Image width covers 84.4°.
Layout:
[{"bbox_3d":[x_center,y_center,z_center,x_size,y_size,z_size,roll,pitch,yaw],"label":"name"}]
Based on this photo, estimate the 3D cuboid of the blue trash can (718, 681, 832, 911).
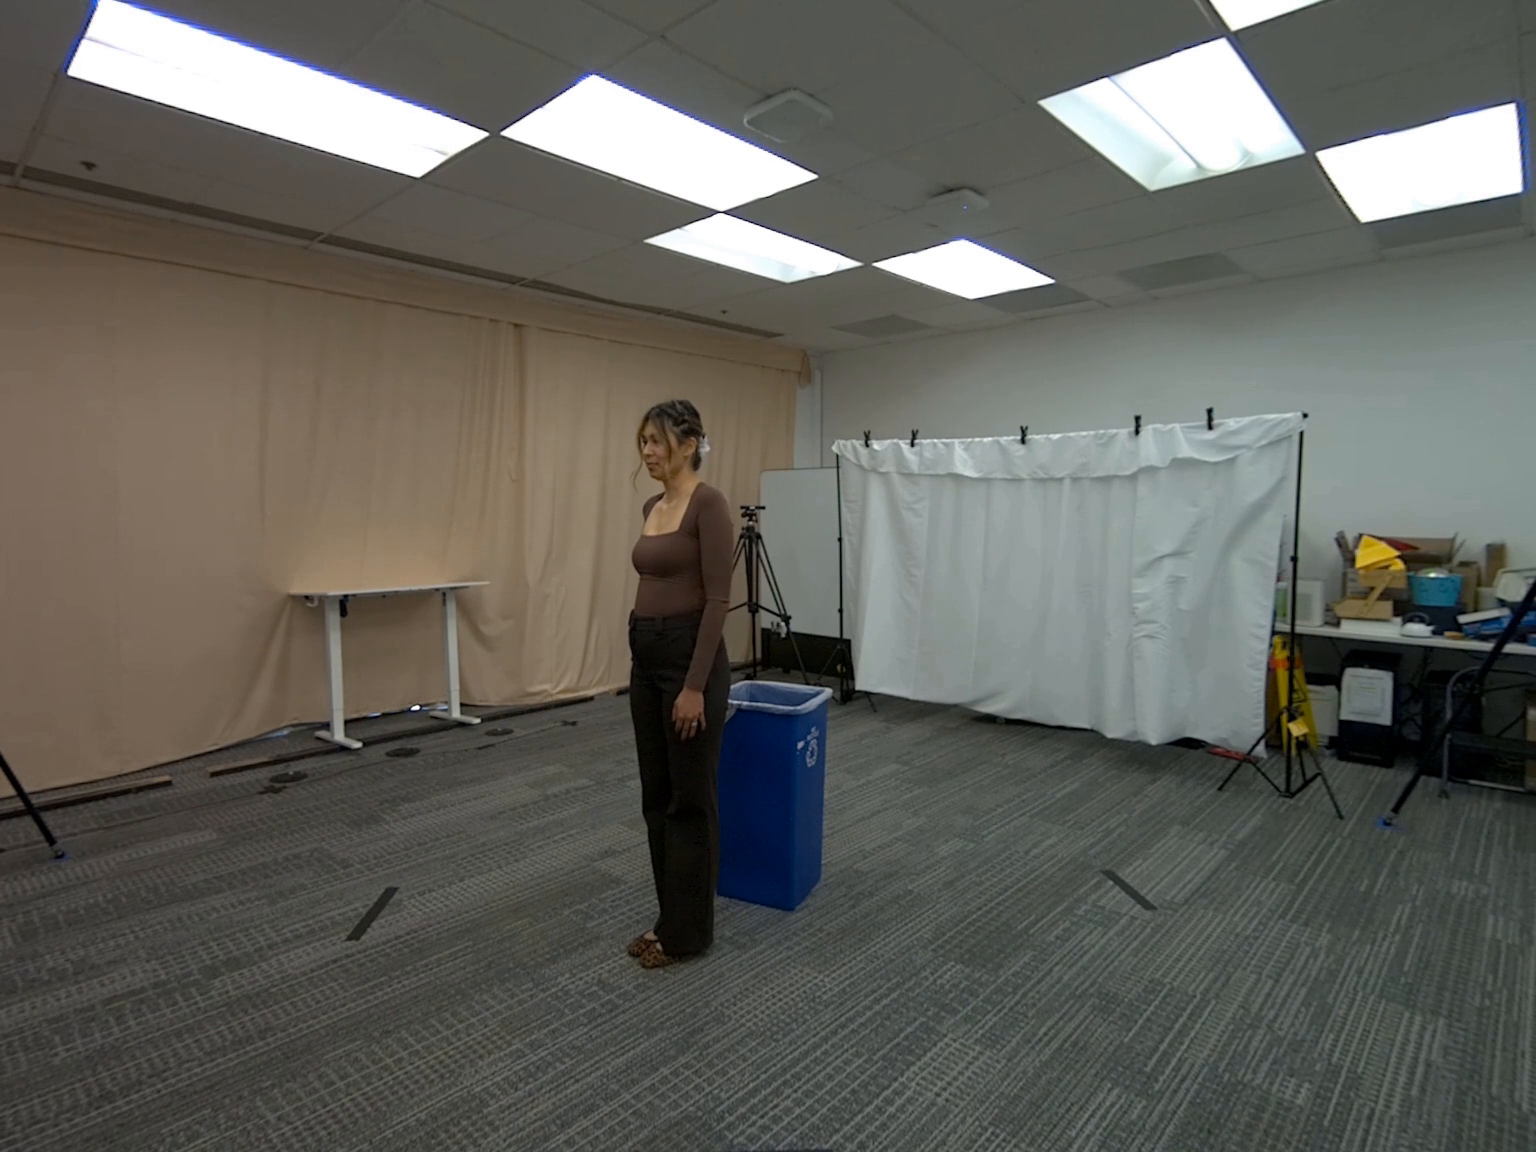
[{"bbox_3d":[0.005,0.778,3.062,0.384,0.712,0.369,3,4,24],"label":"blue trash can"}]
